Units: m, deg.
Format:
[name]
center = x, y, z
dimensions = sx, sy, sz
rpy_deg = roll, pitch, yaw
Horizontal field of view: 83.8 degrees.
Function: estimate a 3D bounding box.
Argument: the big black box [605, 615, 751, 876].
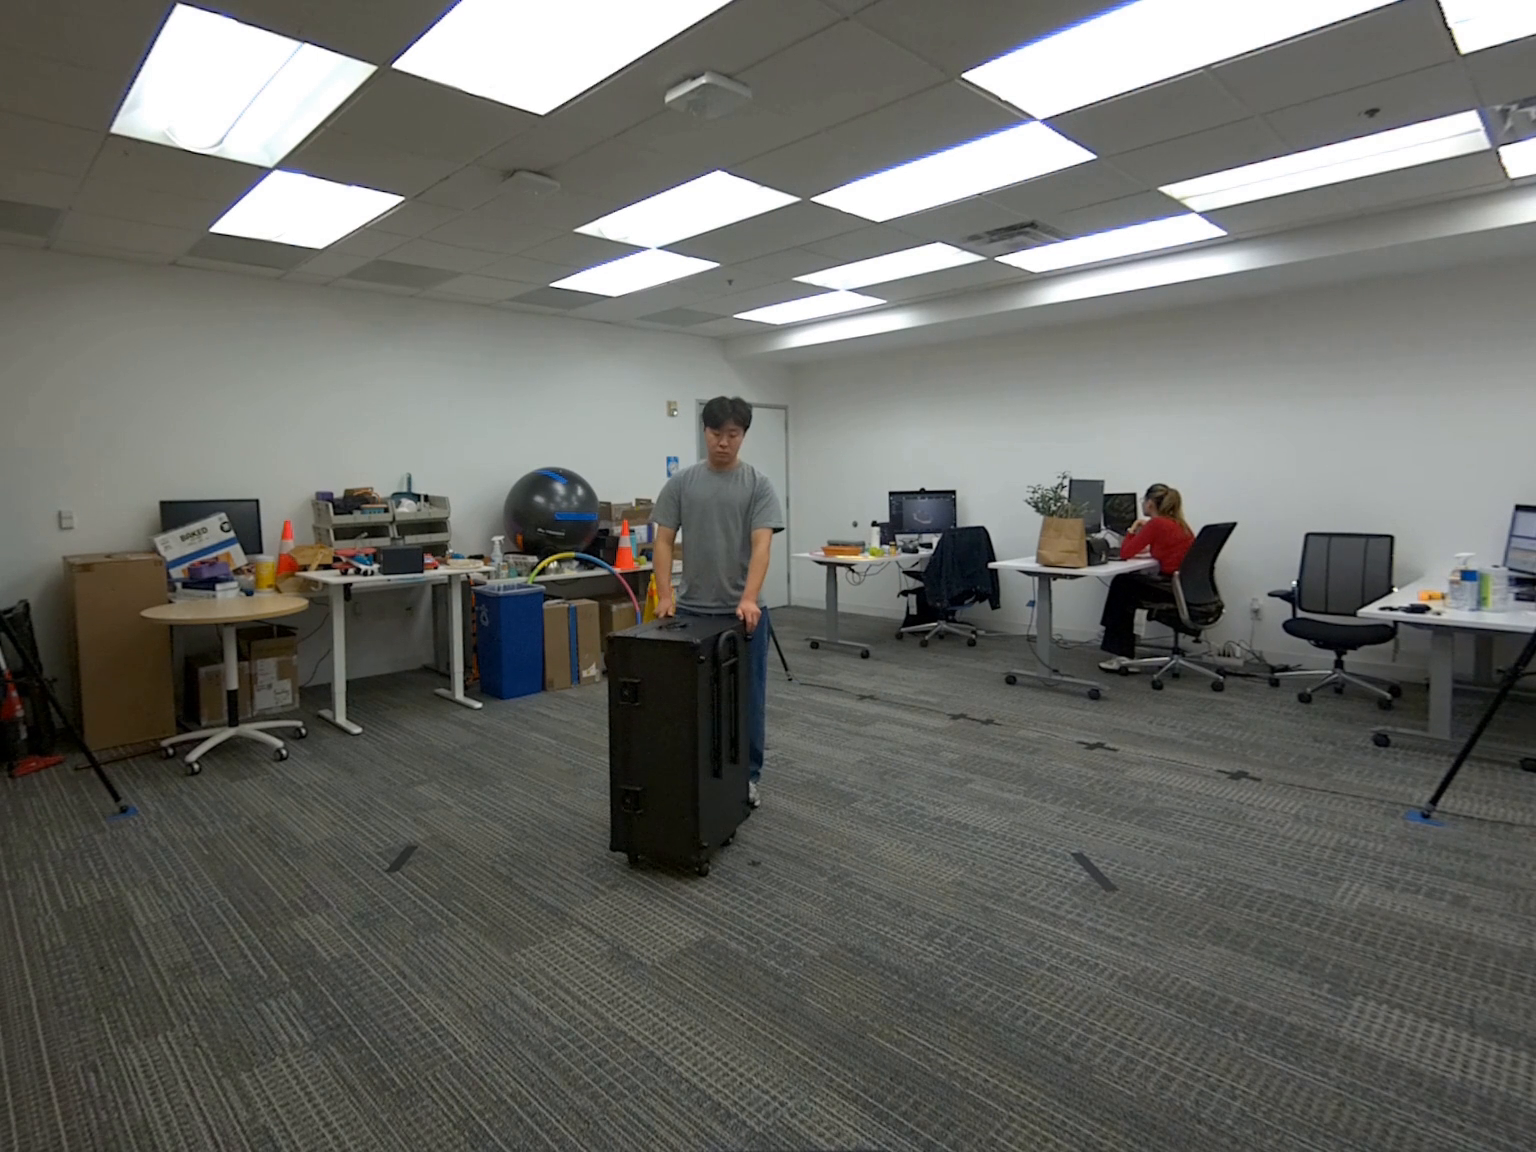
[big black box]
center = -0.315, 0.623, 3.186
dimensions = 0.404, 0.859, 0.512
rpy_deg = 1, 4, 21
